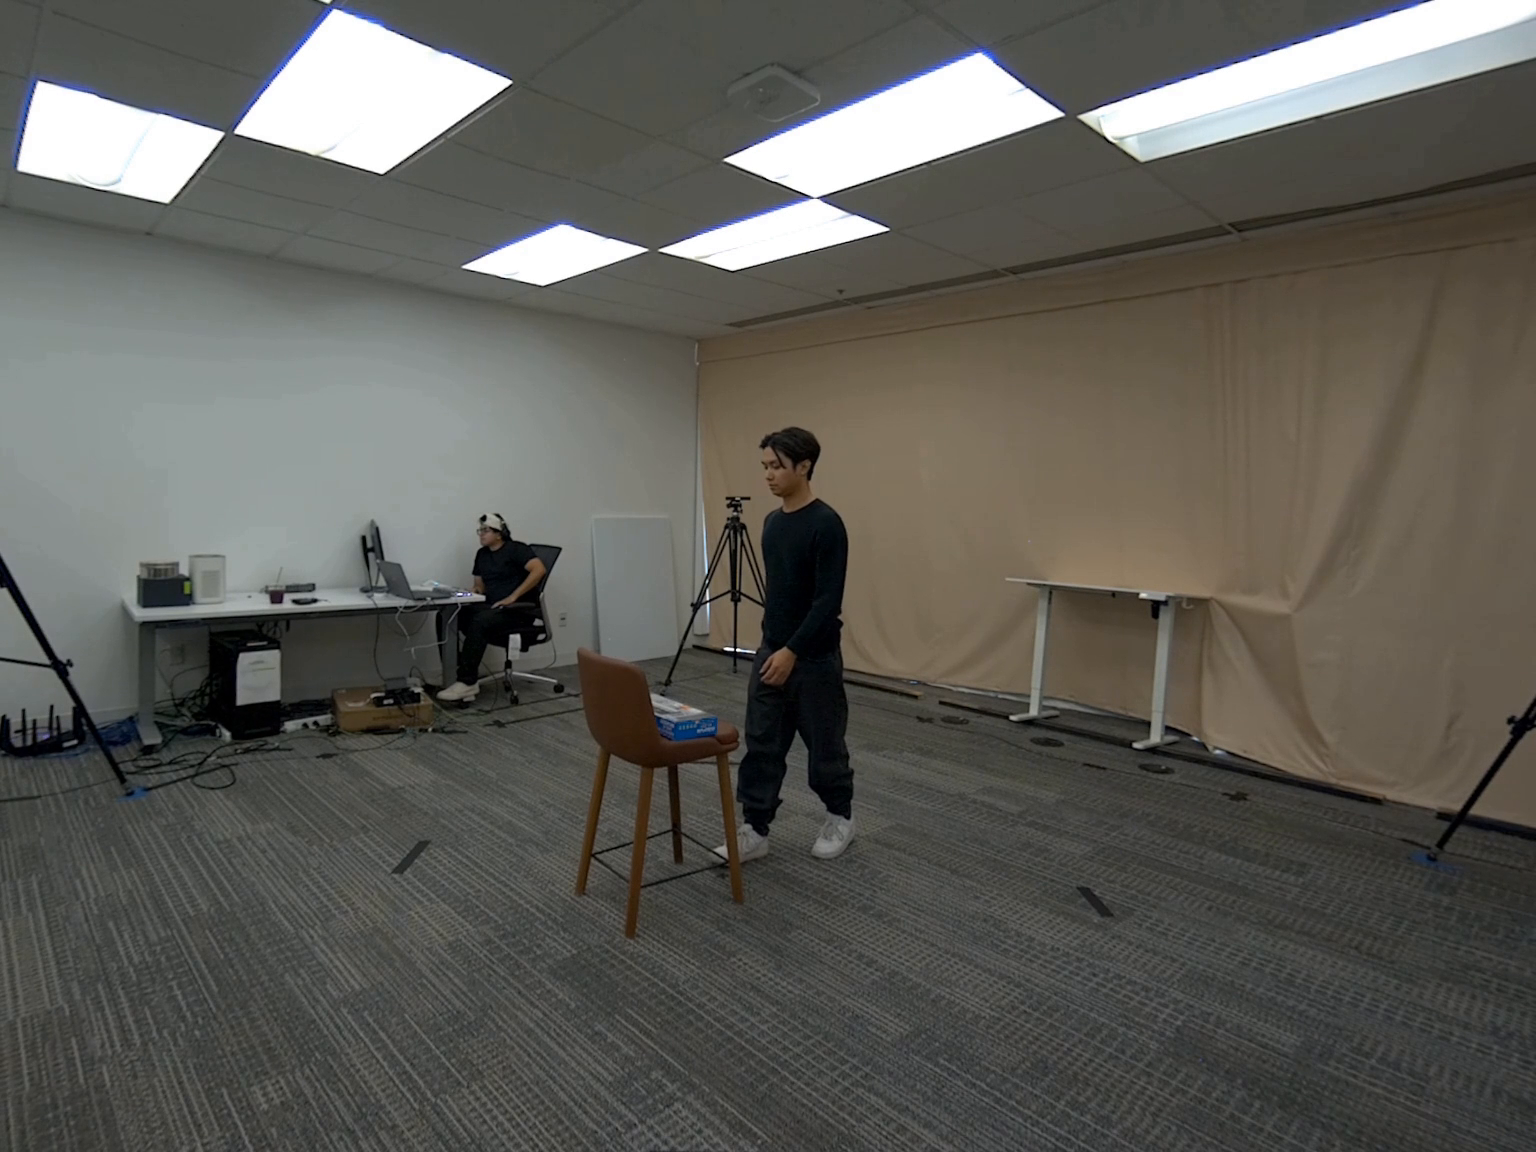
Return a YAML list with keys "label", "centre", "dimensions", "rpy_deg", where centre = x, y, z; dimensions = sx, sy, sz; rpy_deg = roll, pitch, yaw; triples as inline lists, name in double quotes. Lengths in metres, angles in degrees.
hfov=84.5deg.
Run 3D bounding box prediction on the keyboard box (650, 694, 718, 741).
- label: "keyboard box"
  centre: [-0.373, 0.466, 2.900]
  dimensions: [0.172, 0.059, 0.448]
  rpy_deg: [0, 5, -40]
